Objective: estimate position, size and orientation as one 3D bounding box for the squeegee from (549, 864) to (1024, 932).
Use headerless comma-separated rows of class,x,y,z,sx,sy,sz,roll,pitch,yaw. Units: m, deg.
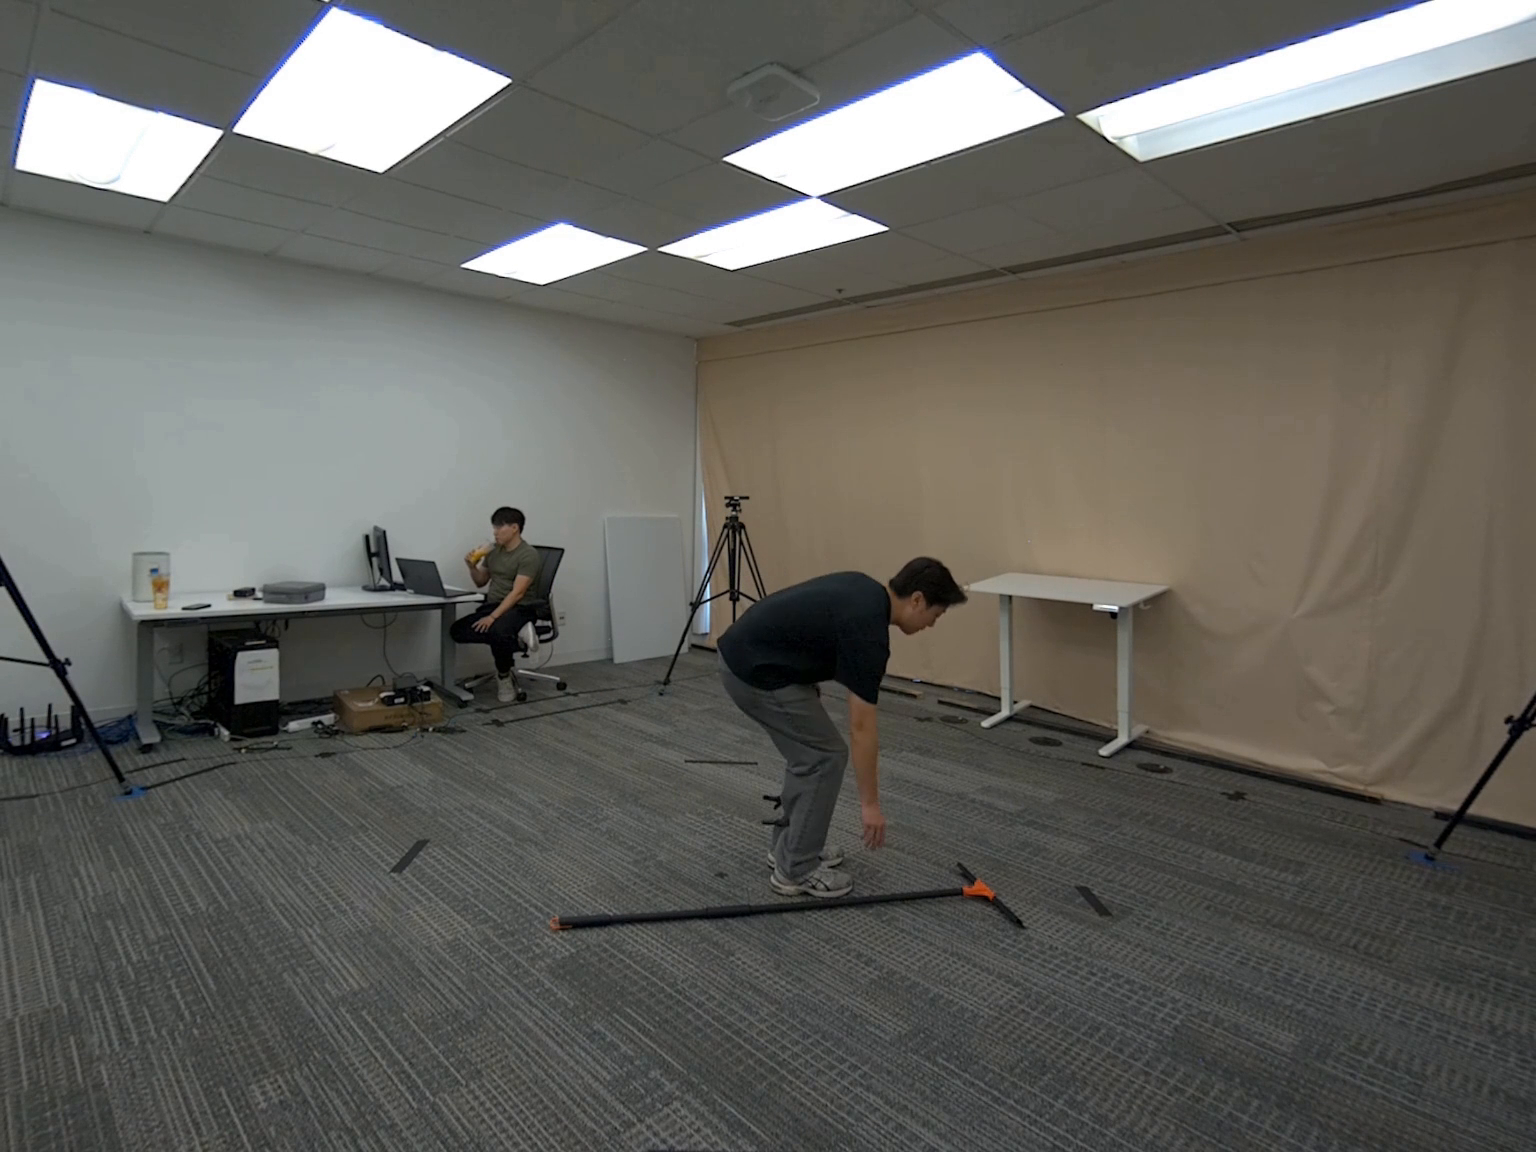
squeegee,0.042,1.087,2.830,1.523,0.053,0.442,0,3,-12
